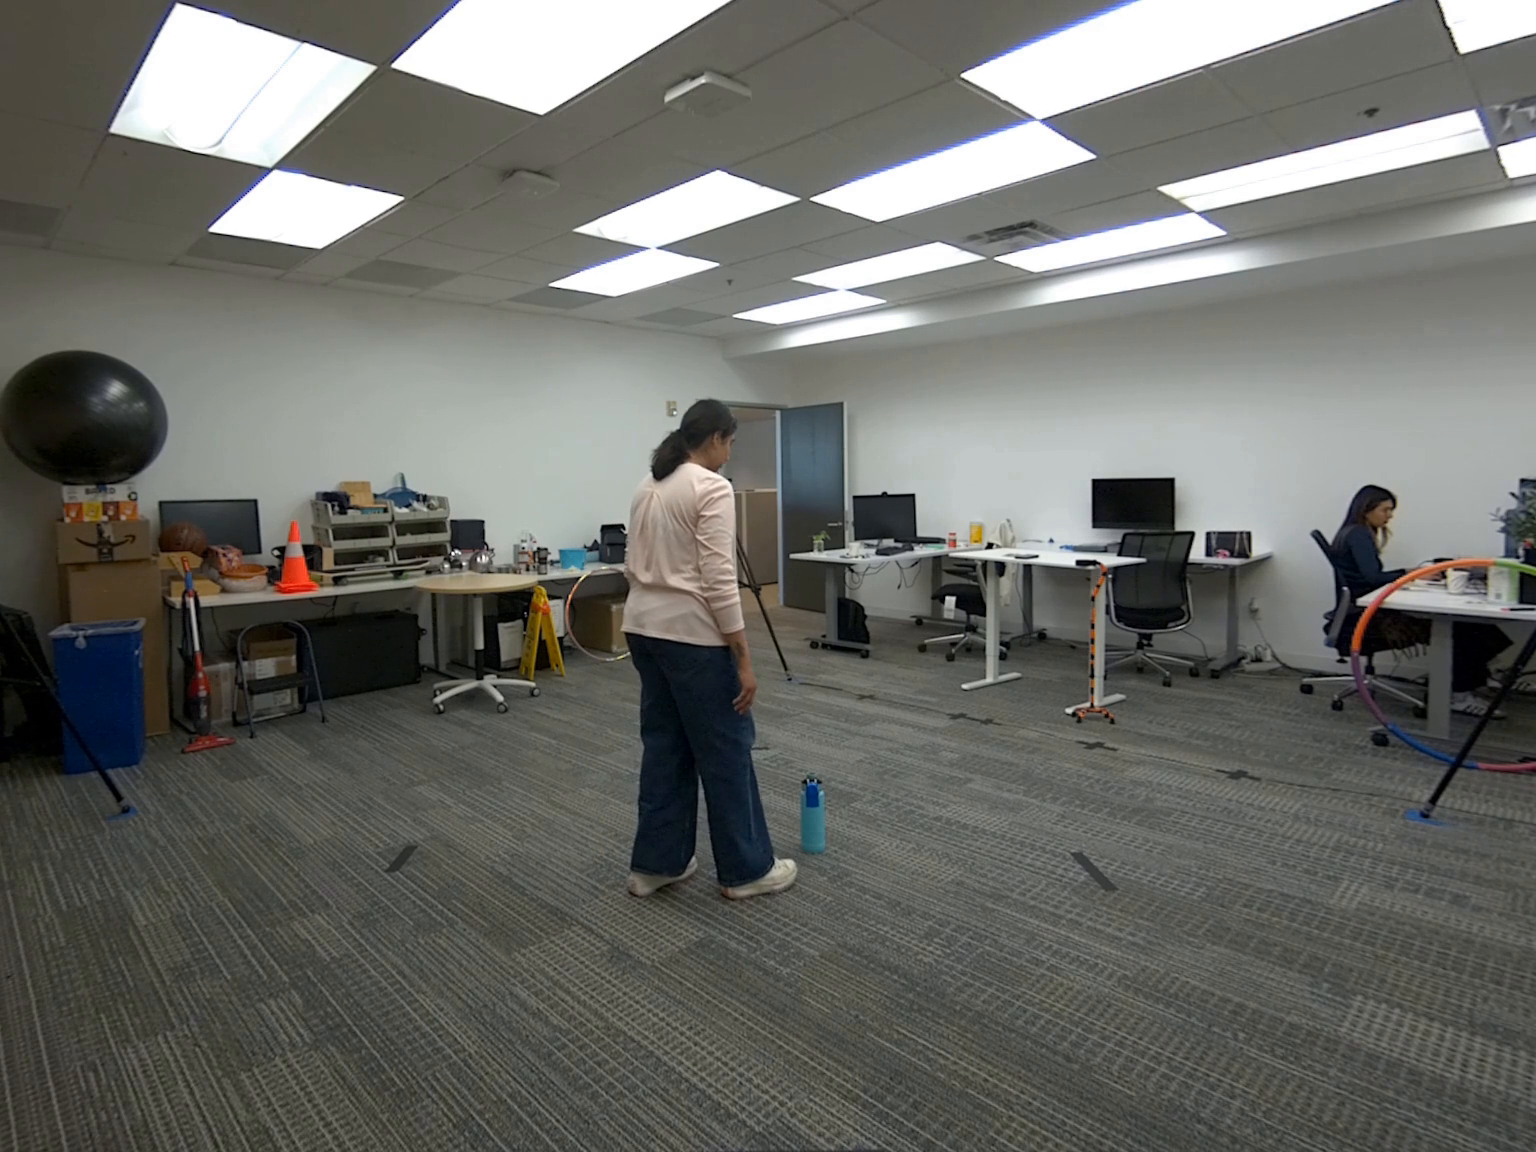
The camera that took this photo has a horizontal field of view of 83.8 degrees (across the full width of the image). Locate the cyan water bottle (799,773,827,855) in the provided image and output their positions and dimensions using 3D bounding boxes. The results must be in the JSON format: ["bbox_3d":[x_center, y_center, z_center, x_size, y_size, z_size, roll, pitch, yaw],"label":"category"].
[{"bbox_3d":[0.170,0.889,3.212,0.092,0.282,0.093,-1,4,-2],"label":"cyan water bottle"}]
